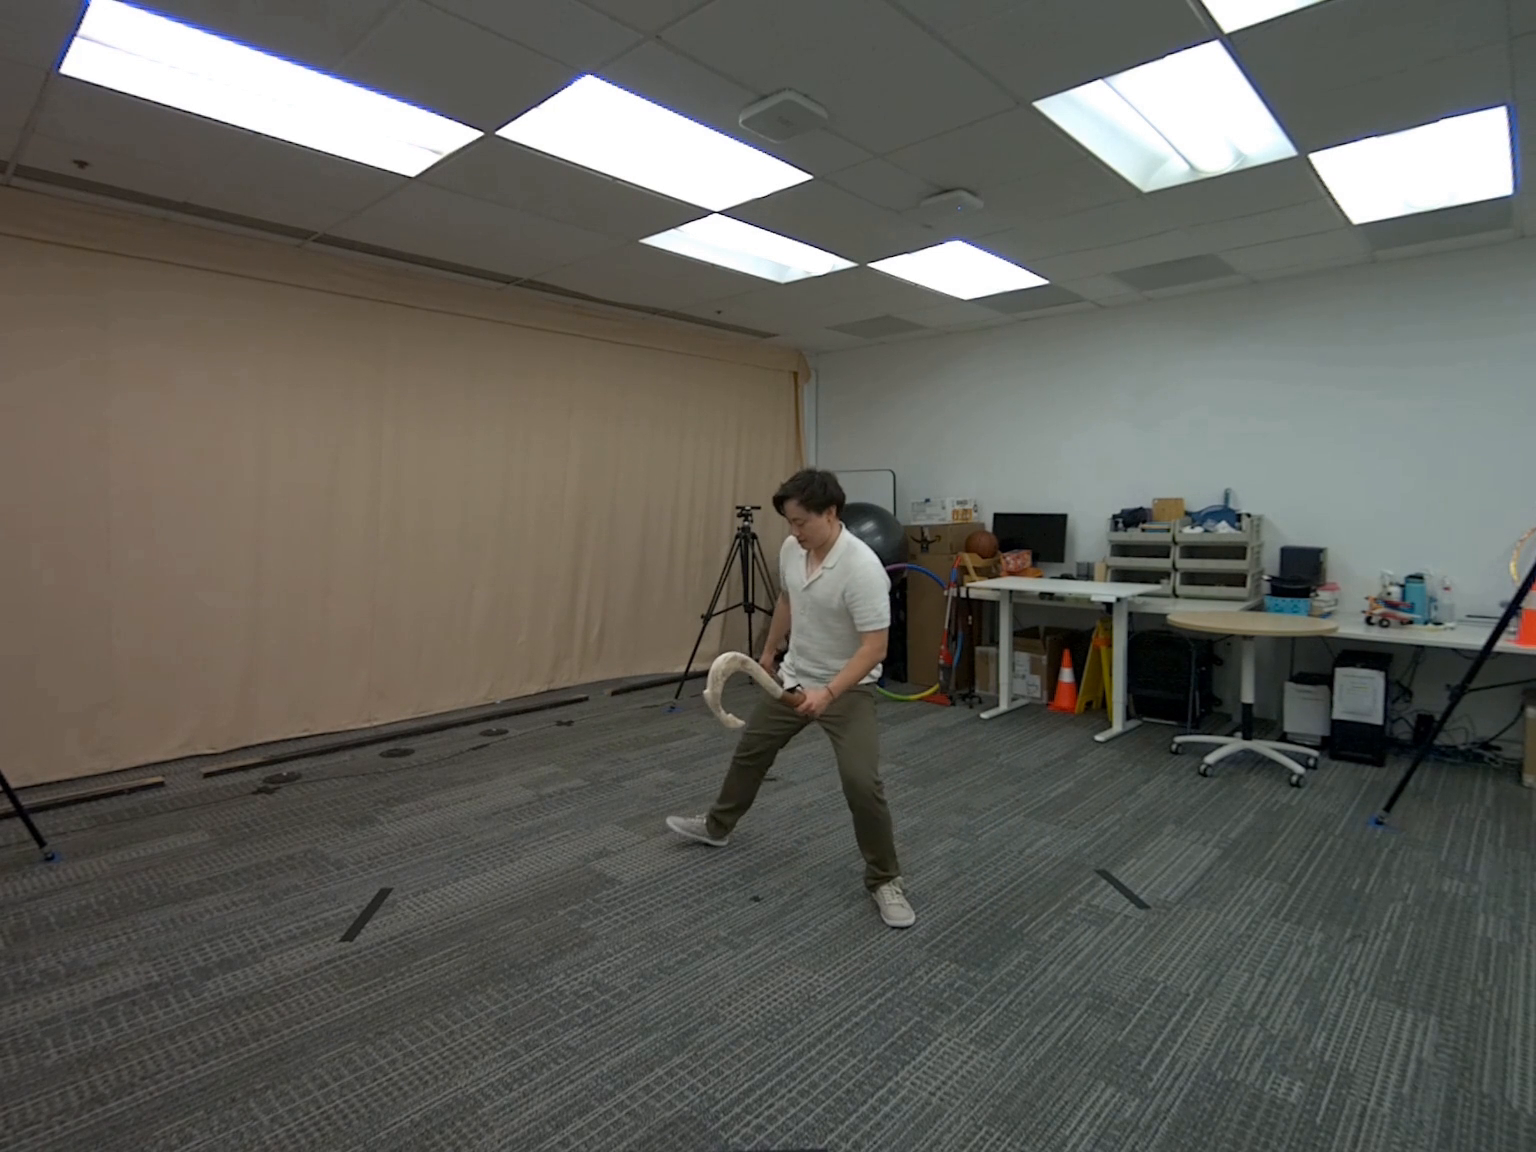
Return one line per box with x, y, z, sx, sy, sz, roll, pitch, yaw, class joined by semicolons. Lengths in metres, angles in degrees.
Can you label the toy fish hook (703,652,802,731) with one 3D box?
-0.017;0.406;2.680;0.489;0.225;0.050;29;-15;-38;toy fish hook
